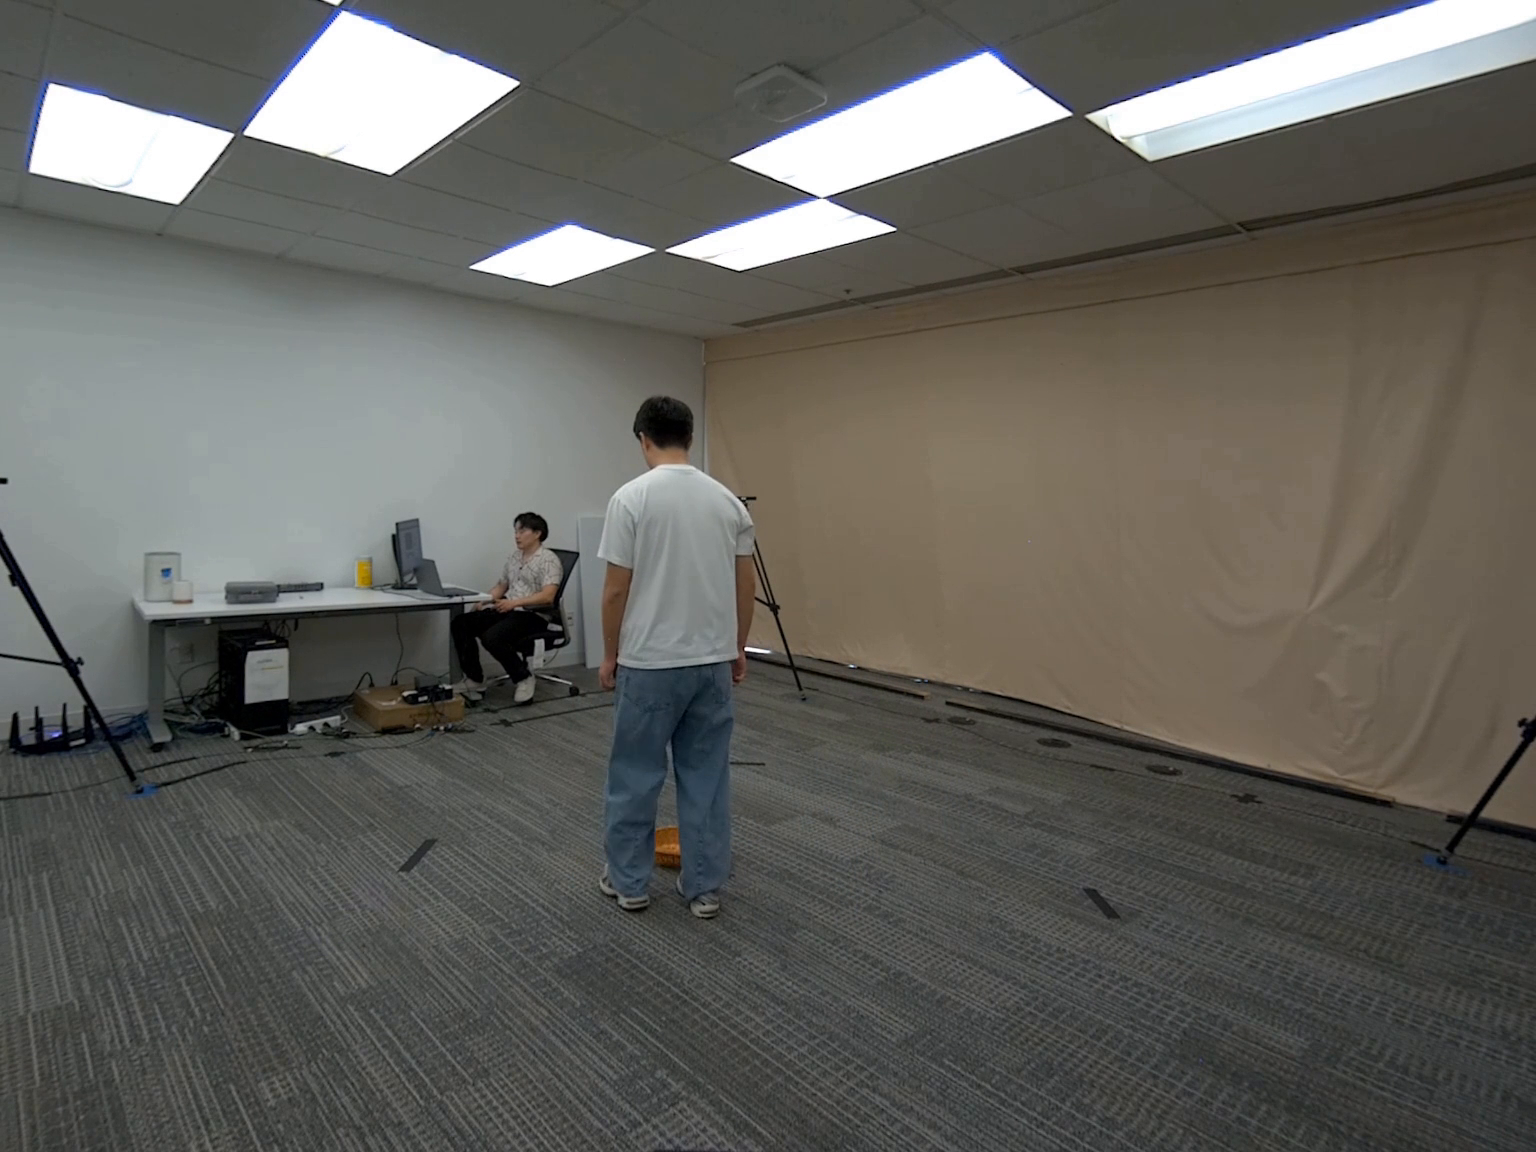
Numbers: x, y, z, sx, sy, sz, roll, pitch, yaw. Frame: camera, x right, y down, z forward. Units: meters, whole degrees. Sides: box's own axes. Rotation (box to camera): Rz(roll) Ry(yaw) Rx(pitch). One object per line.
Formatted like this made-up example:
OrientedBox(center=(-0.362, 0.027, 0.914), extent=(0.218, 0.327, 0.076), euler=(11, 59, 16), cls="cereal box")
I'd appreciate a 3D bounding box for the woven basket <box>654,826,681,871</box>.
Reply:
OrientedBox(center=(-0.319, 1.054, 3.245), extent=(0.354, 0.073, 0.250), euler=(3, 6, 13), cls="woven basket")
